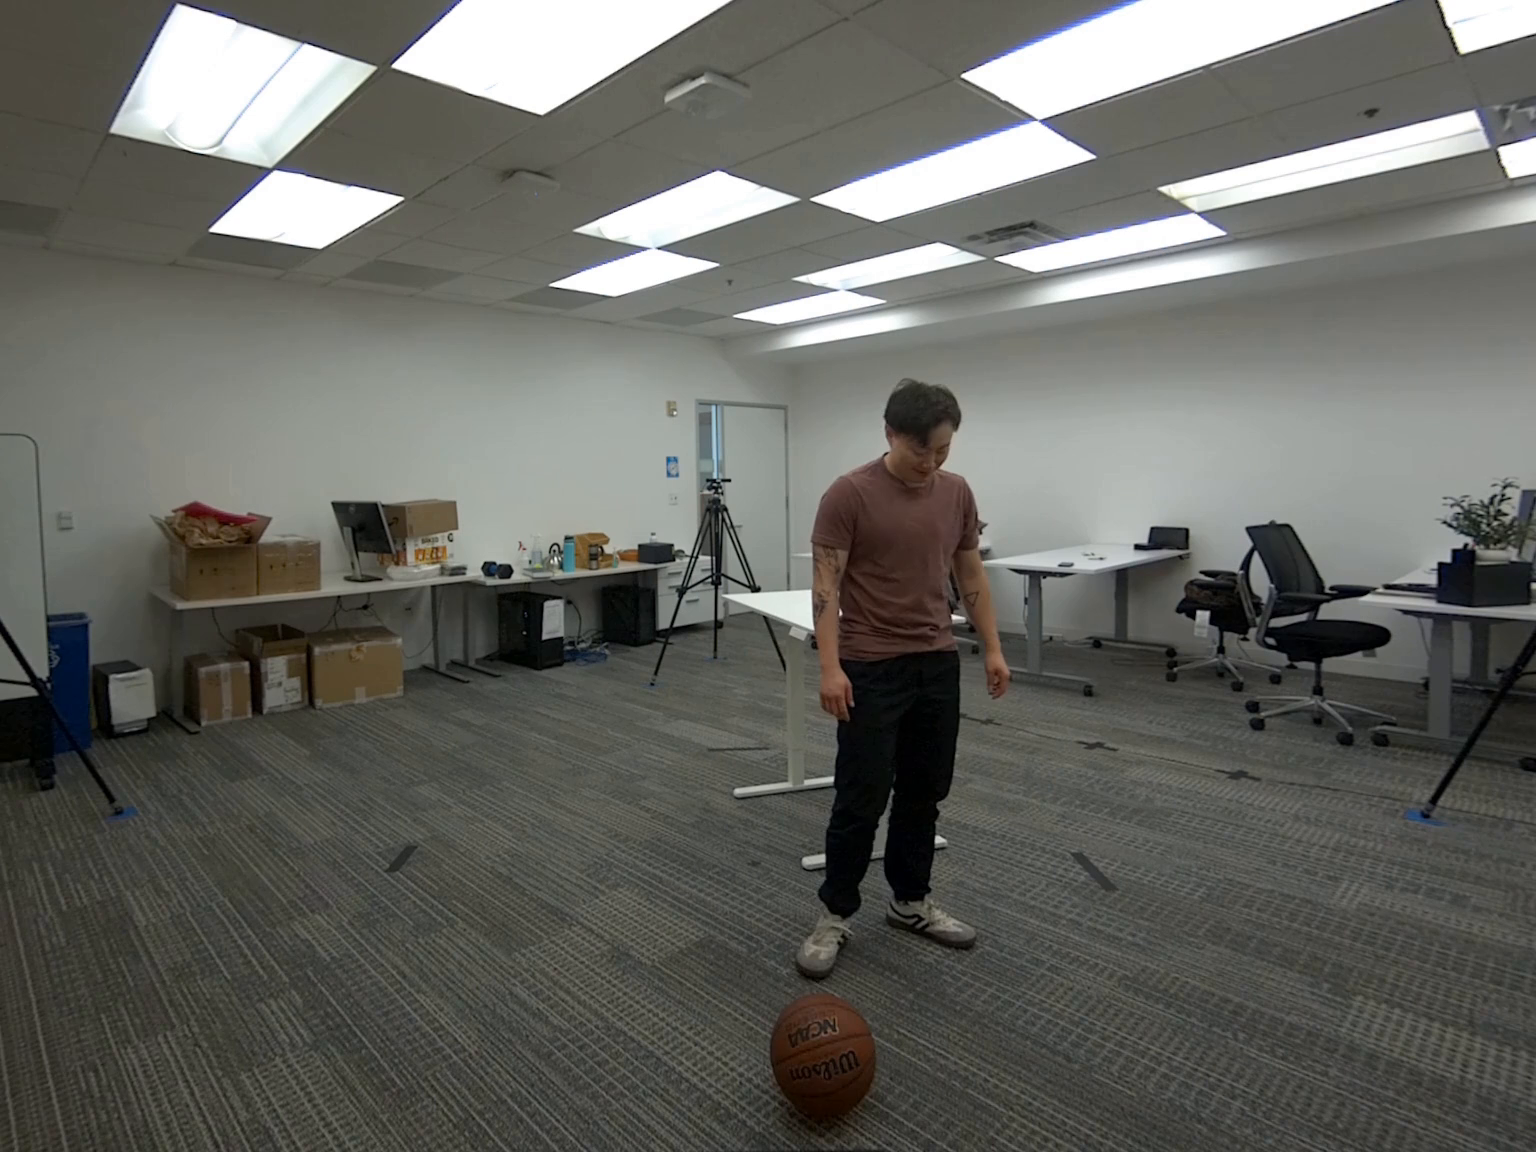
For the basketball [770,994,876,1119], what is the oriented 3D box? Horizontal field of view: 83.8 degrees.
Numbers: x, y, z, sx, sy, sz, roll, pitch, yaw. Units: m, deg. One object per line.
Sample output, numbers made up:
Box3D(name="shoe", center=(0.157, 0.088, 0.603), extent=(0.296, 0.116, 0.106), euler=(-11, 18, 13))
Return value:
Box3D(name="basketball", center=(0.129, 1.061, 1.906), extent=(0.236, 0.235, 0.237), euler=(-1, 5, -2))
